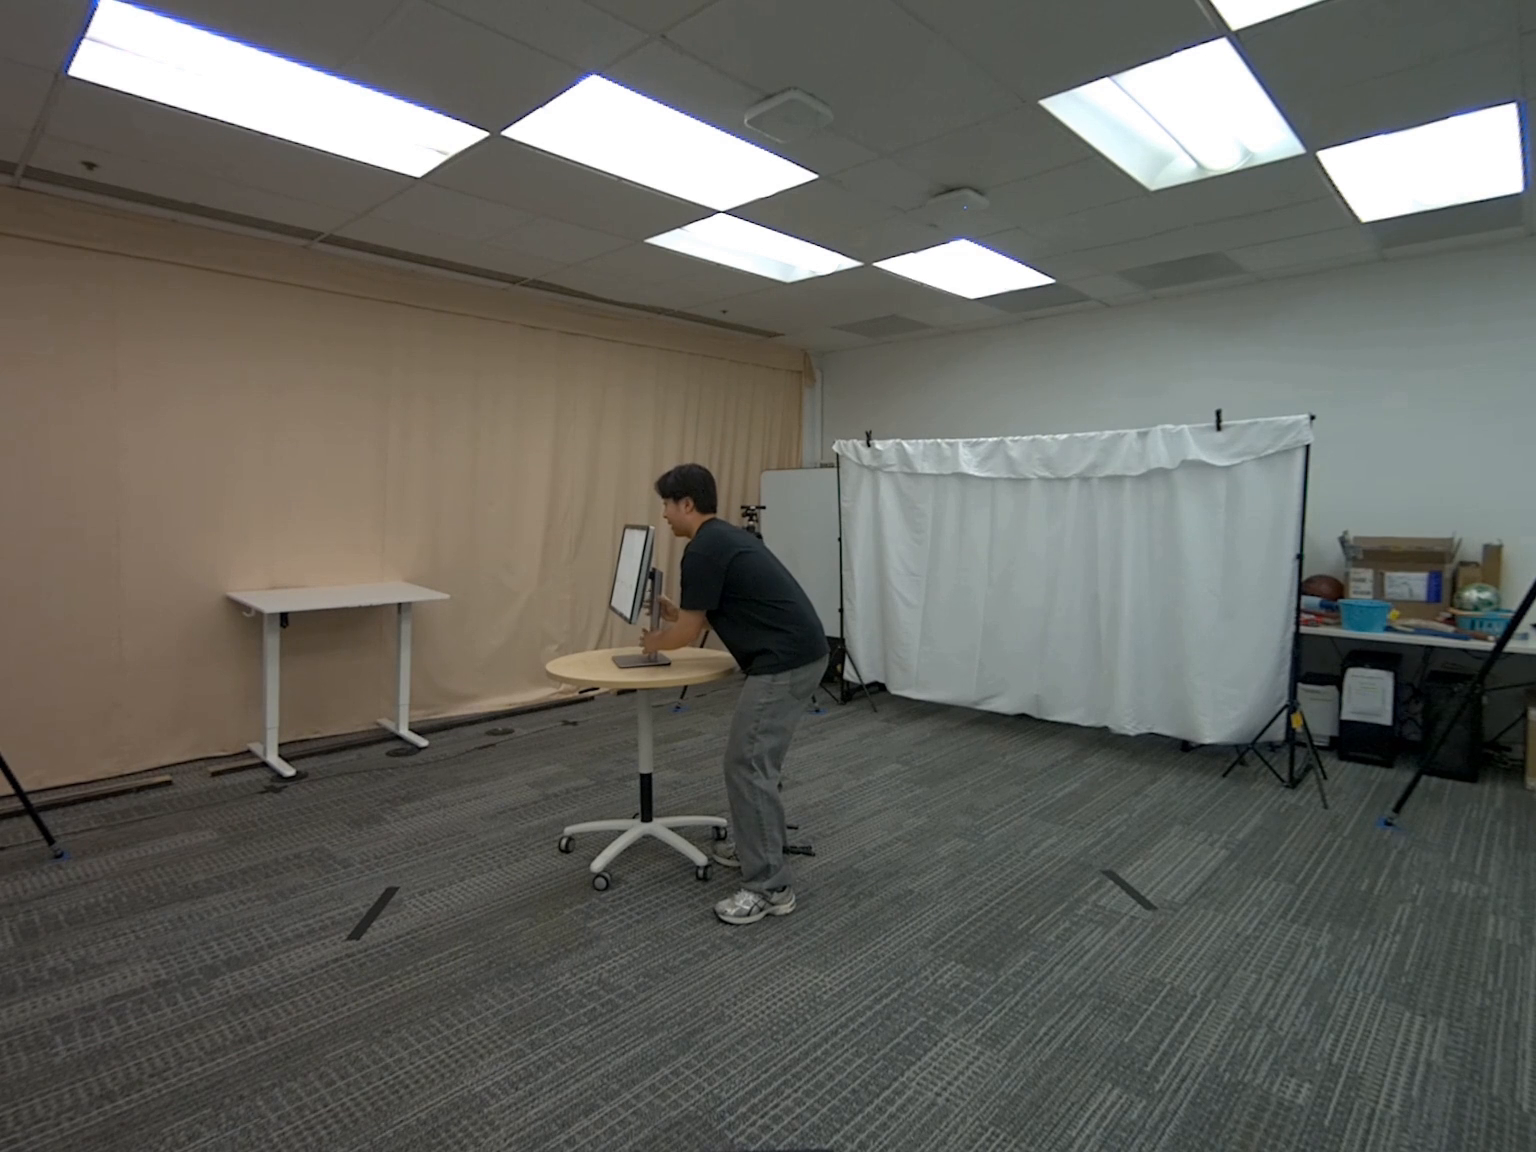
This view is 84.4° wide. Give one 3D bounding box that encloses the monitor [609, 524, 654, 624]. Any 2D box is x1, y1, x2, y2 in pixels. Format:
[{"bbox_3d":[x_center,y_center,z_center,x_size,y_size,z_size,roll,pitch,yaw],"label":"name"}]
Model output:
[{"bbox_3d":[-0.514,0.081,3.324,0.219,0.564,0.571,-4,4,-15],"label":"monitor"}]
